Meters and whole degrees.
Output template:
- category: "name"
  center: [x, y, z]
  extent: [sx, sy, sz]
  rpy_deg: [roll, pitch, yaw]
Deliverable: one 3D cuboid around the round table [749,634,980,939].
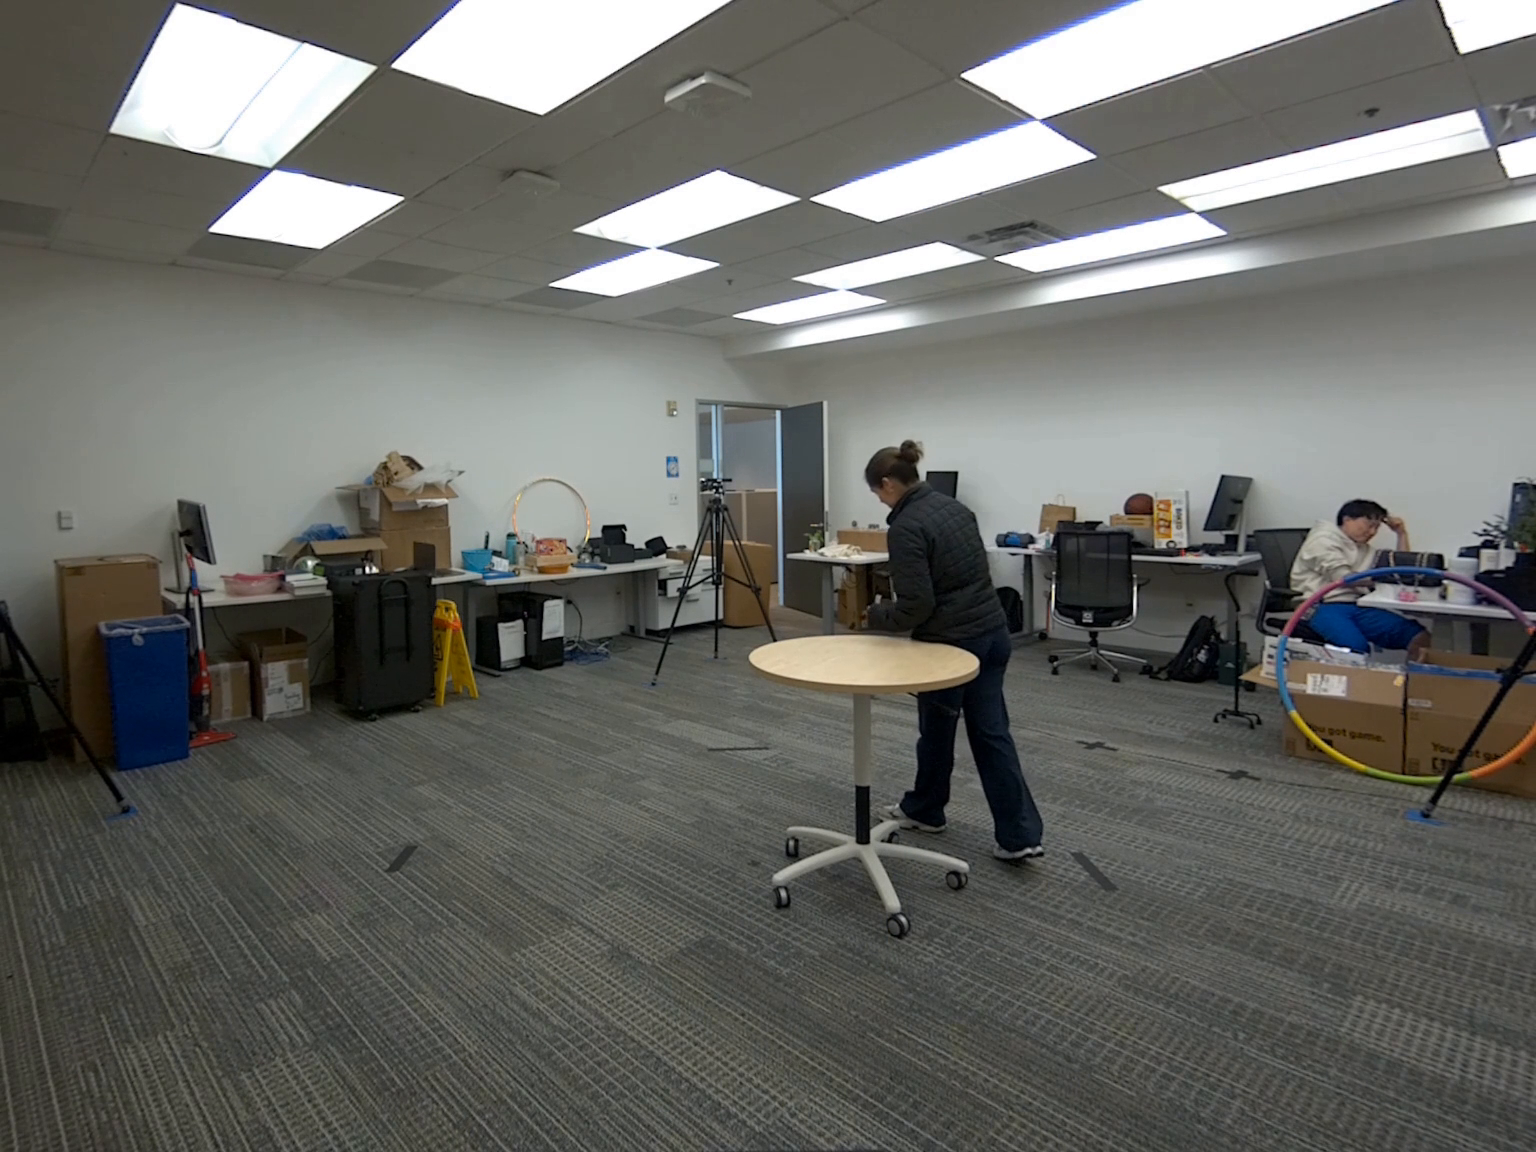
- category: "round table"
  center: [0.313, 0.659, 2.952]
  extent: [0.784, 0.783, 0.789]
  rpy_deg: [-1, 5, -2]
